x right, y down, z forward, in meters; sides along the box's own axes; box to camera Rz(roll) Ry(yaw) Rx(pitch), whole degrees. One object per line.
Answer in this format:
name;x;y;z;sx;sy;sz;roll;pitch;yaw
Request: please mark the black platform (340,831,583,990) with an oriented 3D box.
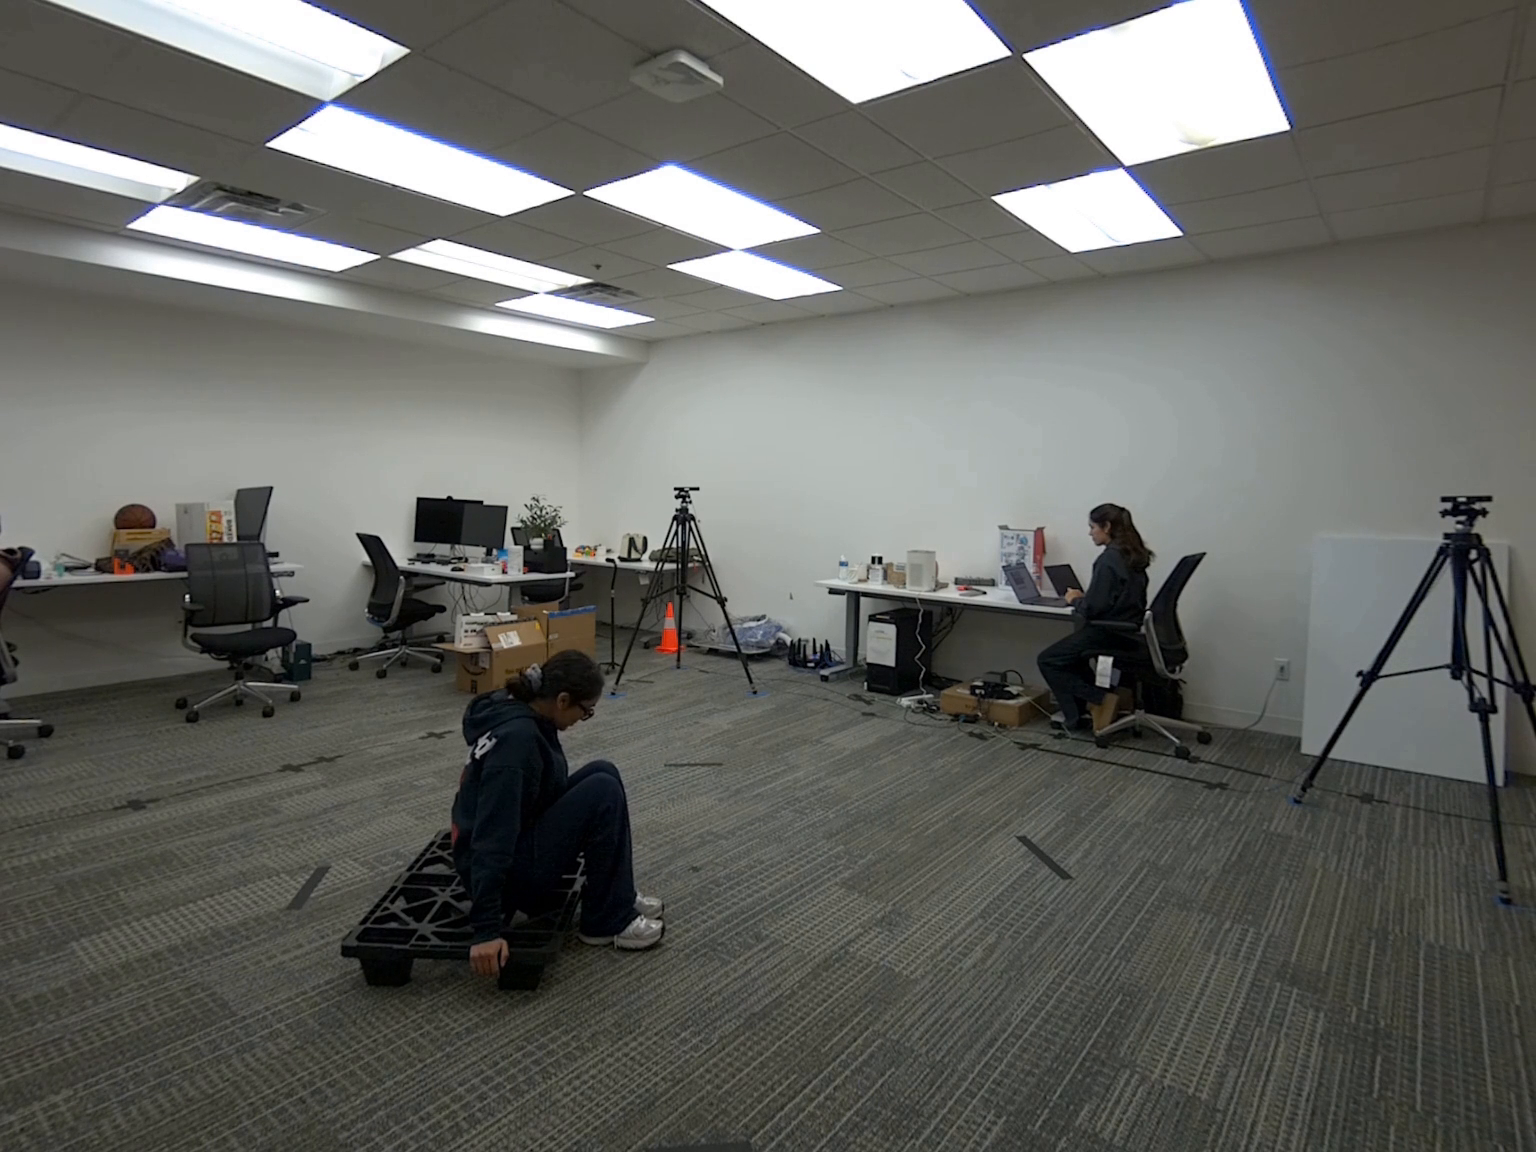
black platform;-0.901;1.028;2.703;0.605;0.143;0.809;0;6;-1
